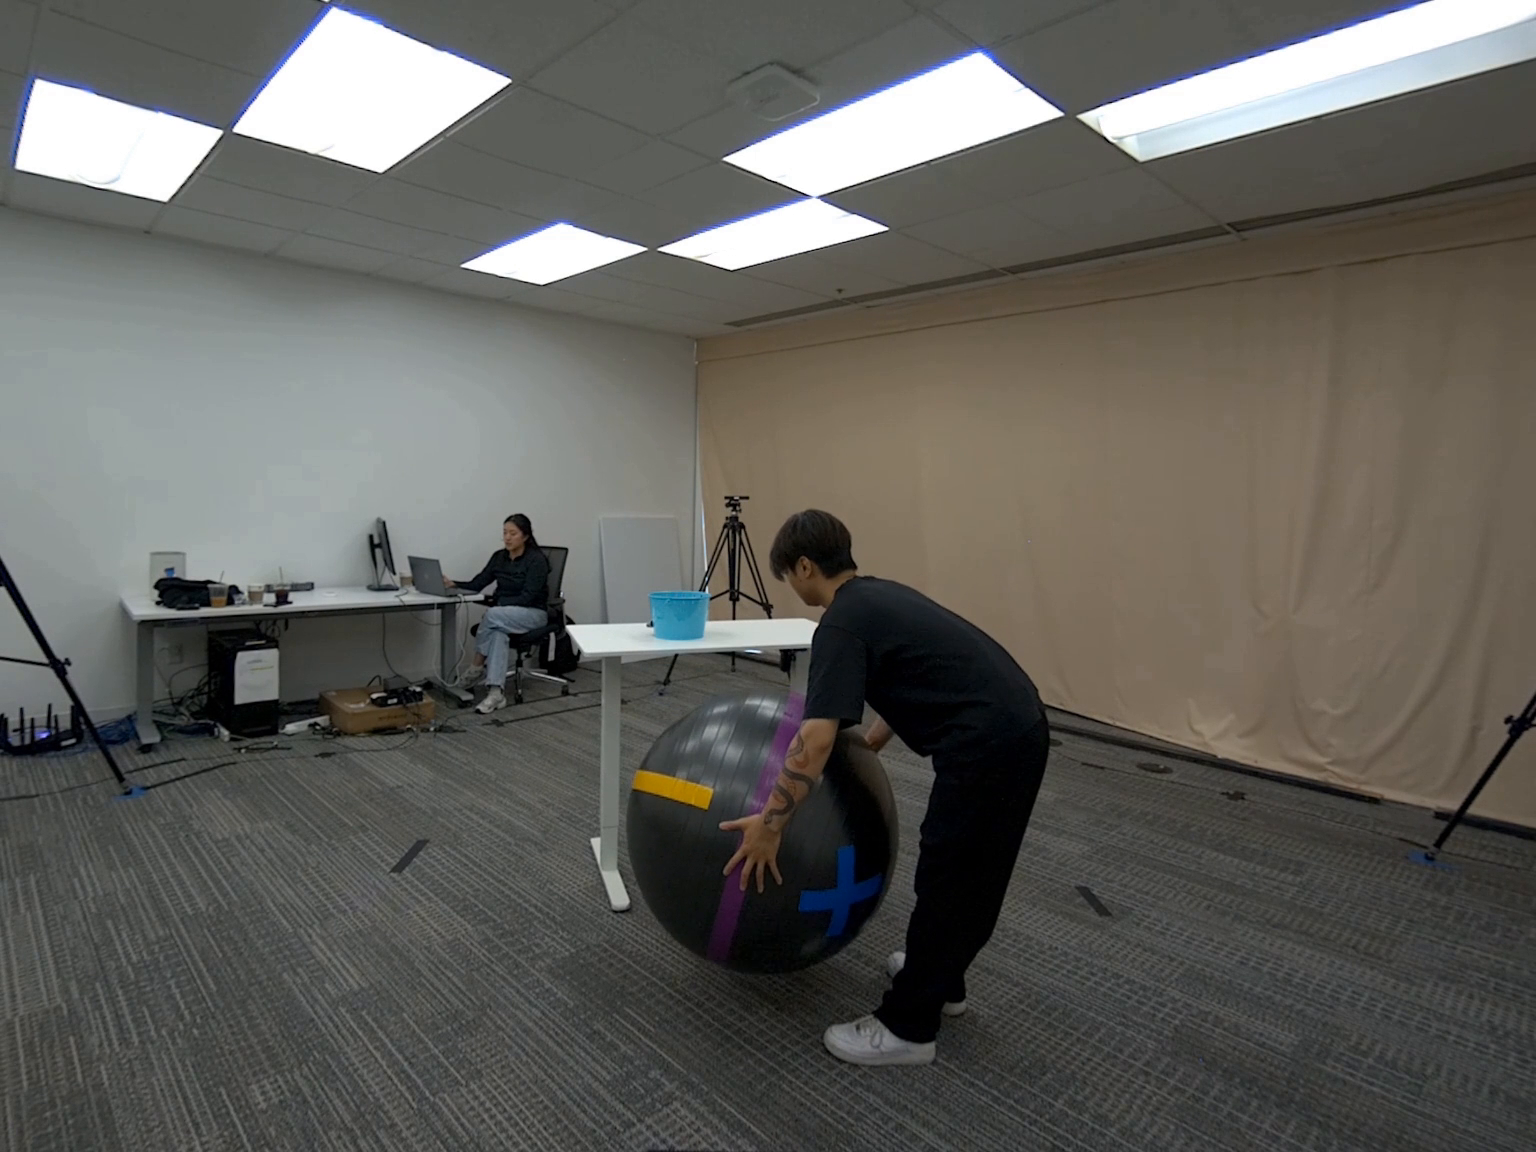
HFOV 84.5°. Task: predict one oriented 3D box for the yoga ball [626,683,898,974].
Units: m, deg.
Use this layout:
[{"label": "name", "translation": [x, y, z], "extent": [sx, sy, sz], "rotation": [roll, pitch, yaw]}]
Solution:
[{"label": "yoga ball", "translation": [-0.017, 0.712, 2.371], "extent": [0.757, 0.756, 0.761], "rotation": [1, 4, -1]}]
